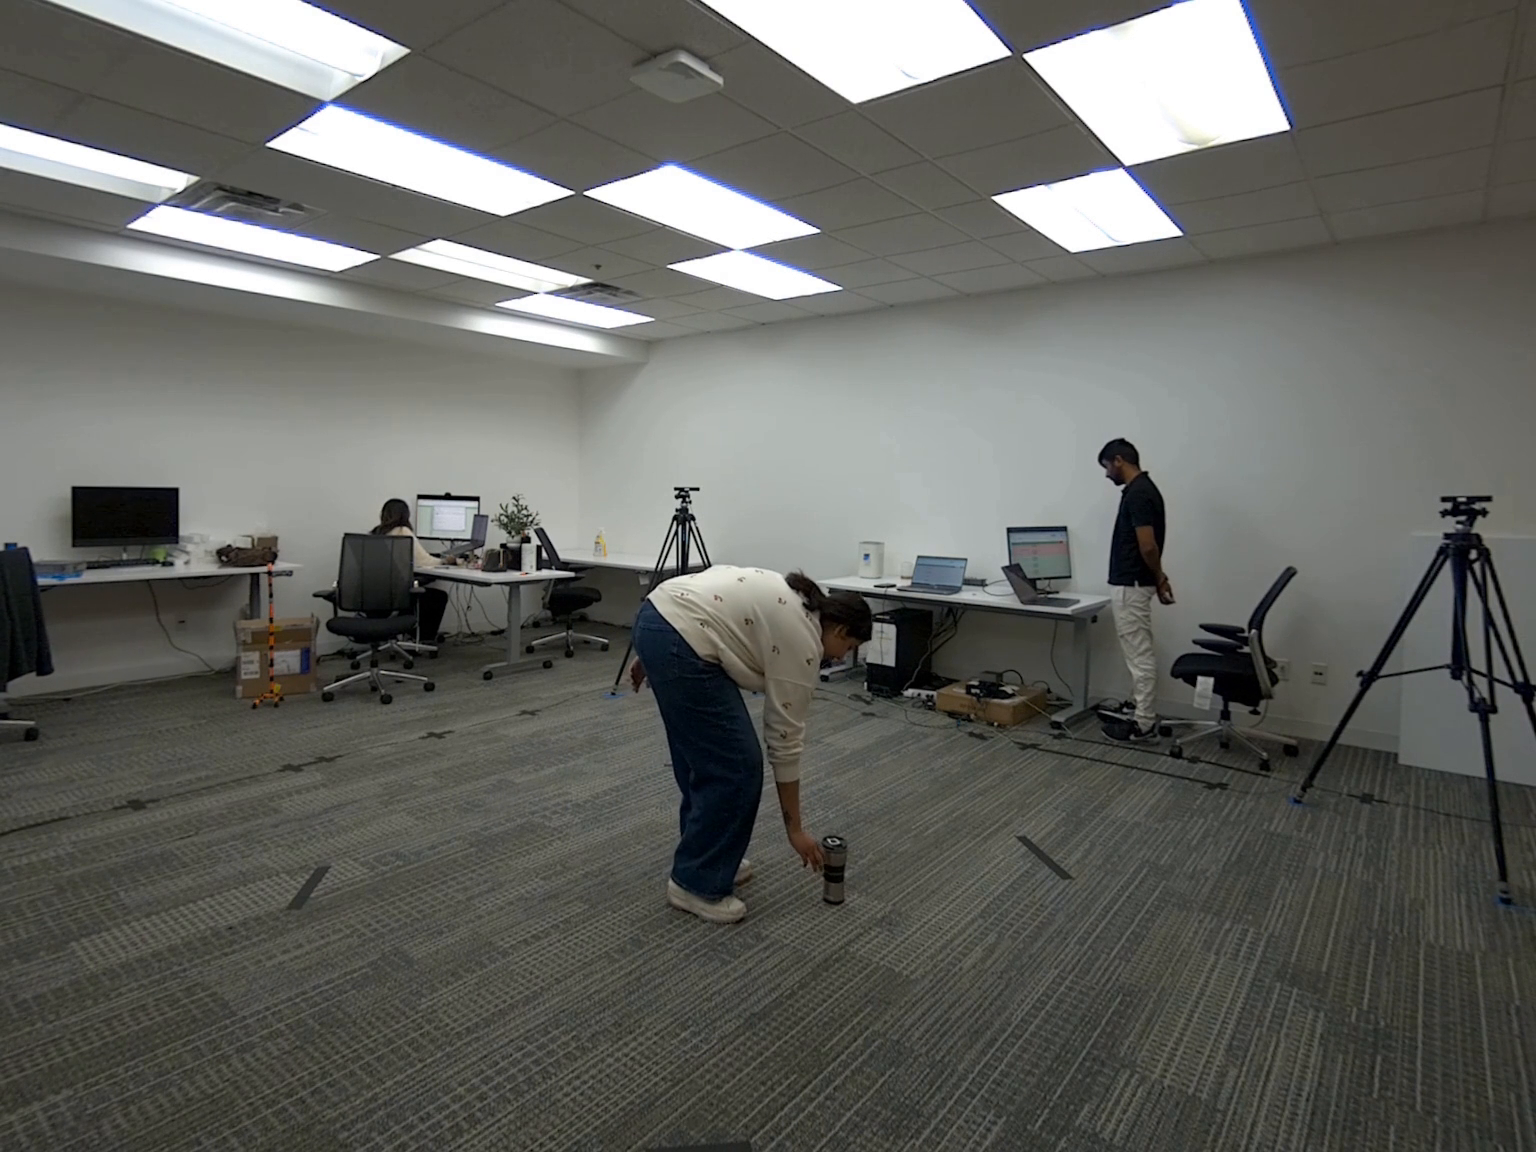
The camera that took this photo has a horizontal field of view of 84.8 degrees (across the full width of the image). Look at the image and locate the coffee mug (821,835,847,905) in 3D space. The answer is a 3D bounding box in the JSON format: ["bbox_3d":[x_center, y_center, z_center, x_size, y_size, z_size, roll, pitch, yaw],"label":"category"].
[{"bbox_3d":[0.207,1.001,2.897,0.085,0.201,0.126,-9,12,-43],"label":"coffee mug"}]
